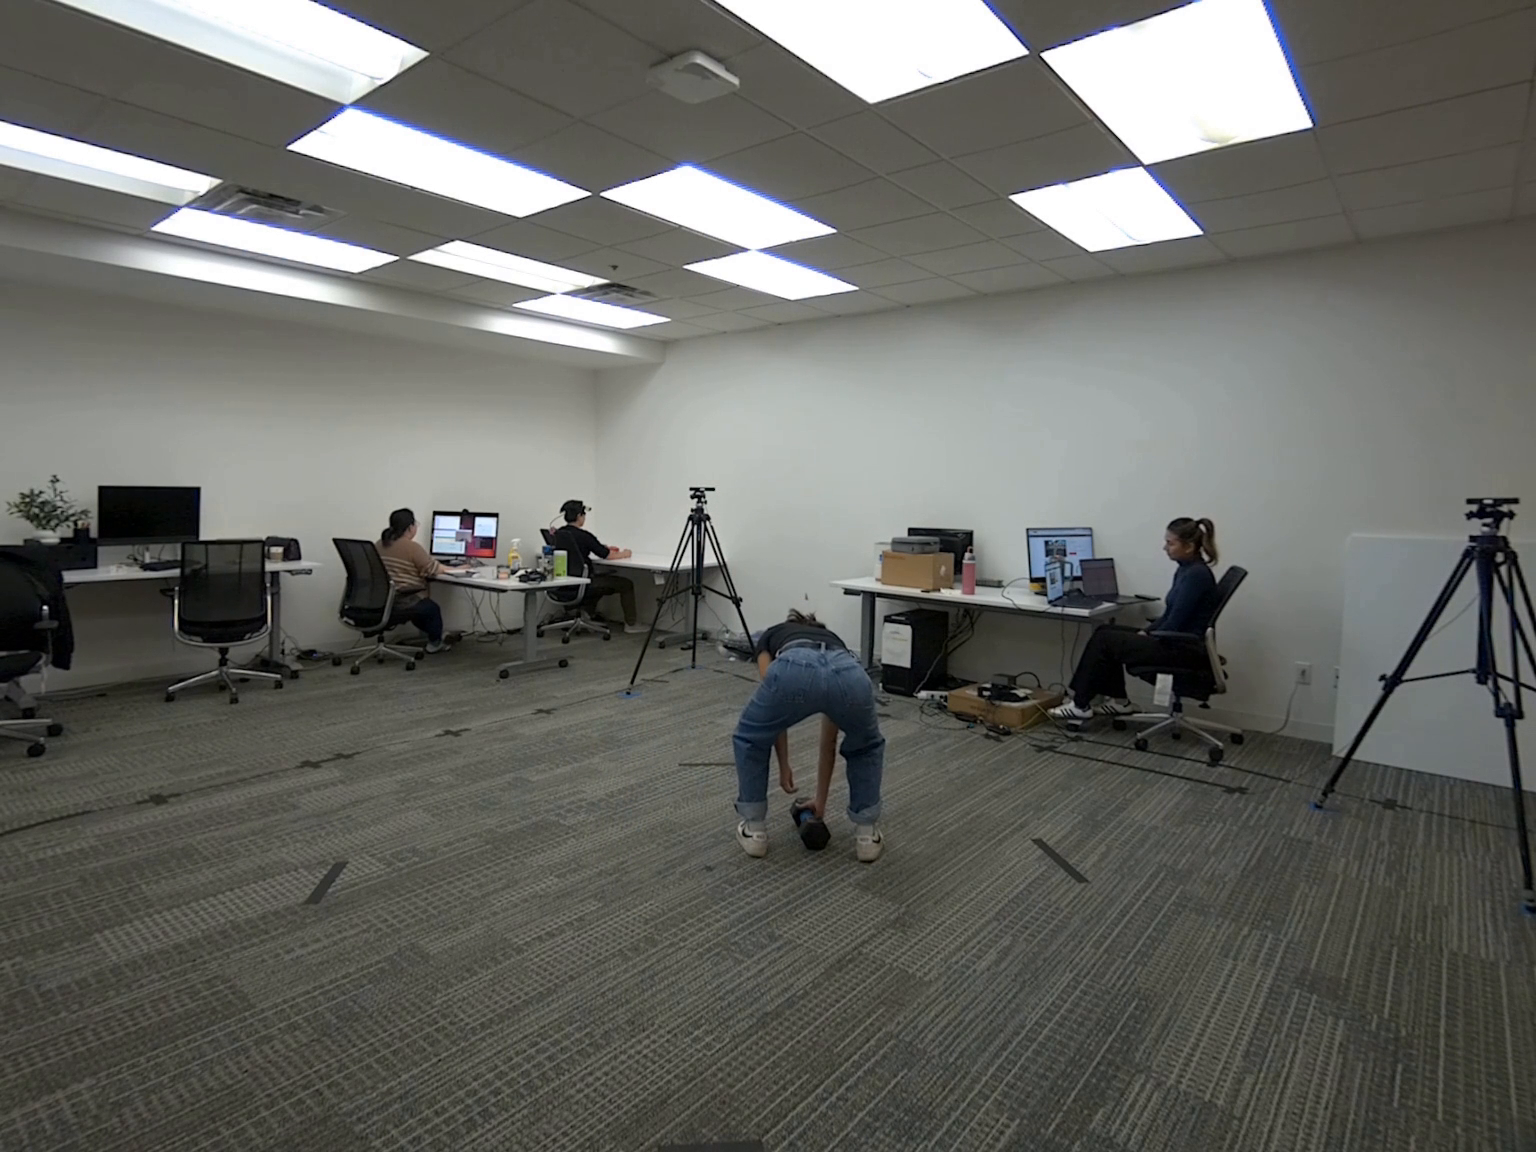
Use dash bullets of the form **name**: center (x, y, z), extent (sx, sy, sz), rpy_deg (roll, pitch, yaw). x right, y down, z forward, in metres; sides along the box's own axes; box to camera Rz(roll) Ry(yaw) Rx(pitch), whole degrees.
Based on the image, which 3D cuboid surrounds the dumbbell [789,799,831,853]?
- **dumbbell**: center (0.156, 0.987, 3.424), extent (0.108, 0.122, 0.297), rpy_deg (-31, 9, -3)
